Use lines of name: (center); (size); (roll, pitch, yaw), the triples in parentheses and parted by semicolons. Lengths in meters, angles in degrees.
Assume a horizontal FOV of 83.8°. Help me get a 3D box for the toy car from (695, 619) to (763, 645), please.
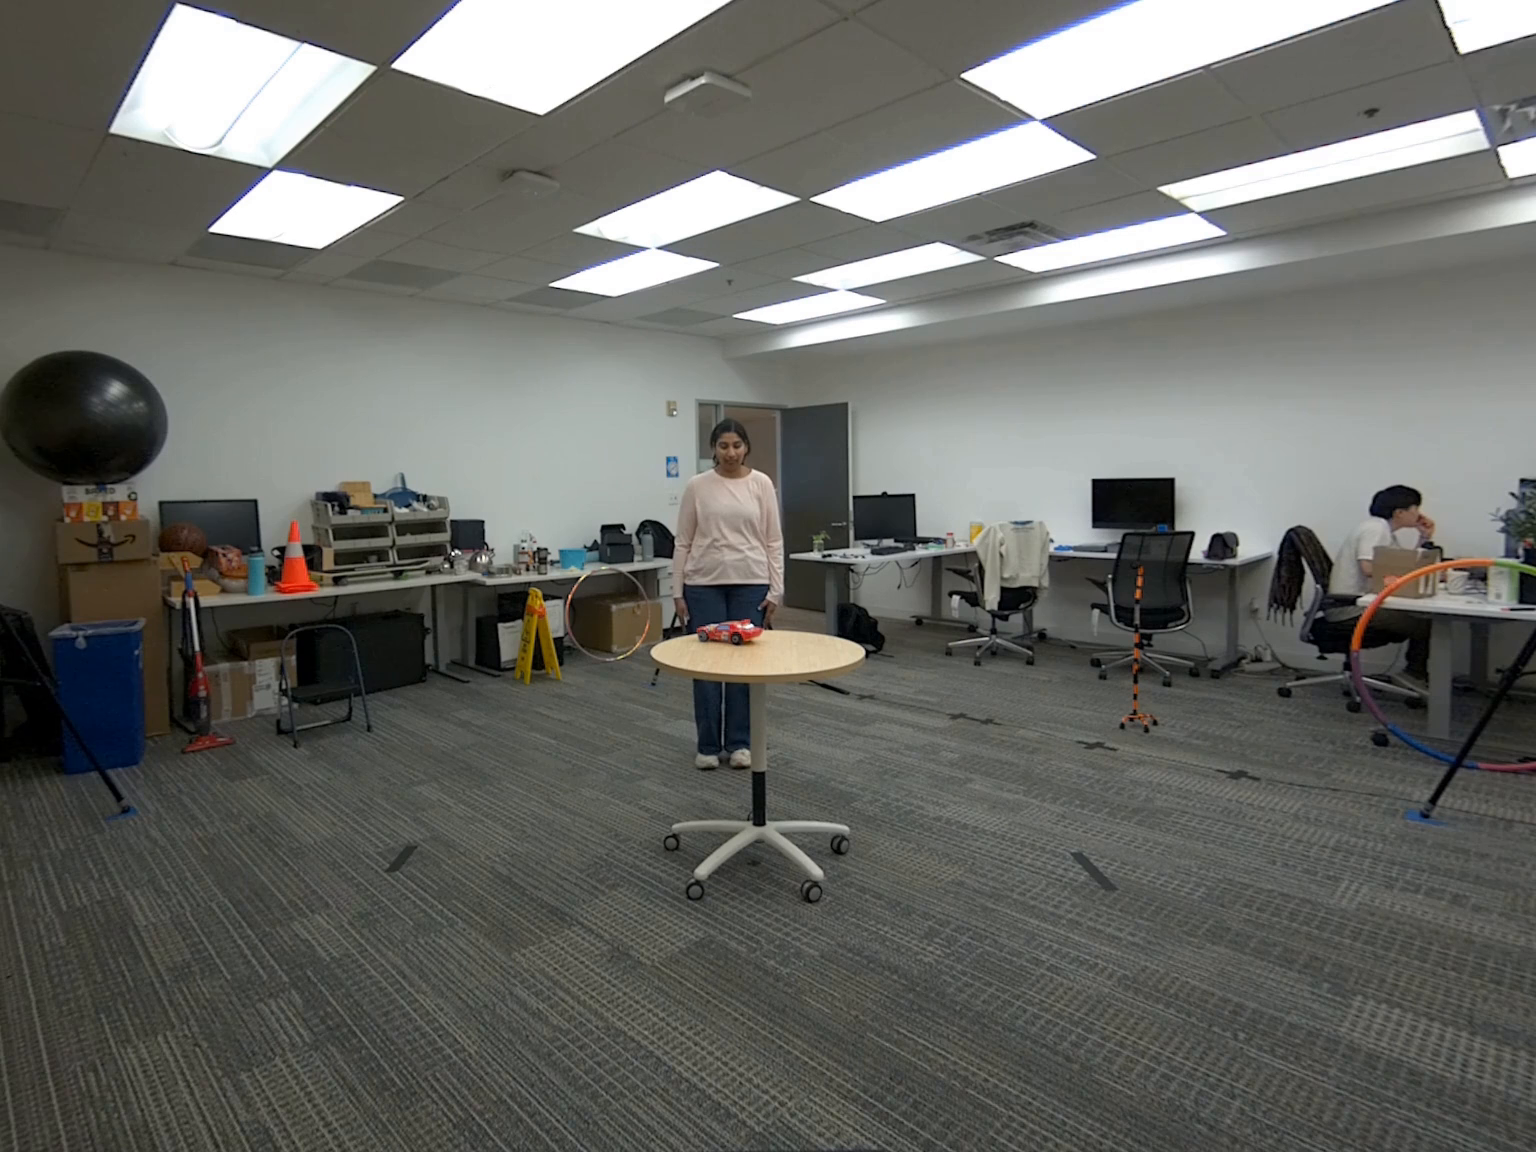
toy car: (-0.136, 0.219, 3.215); (0.260, 0.083, 0.127); (-9, 1, 29)
